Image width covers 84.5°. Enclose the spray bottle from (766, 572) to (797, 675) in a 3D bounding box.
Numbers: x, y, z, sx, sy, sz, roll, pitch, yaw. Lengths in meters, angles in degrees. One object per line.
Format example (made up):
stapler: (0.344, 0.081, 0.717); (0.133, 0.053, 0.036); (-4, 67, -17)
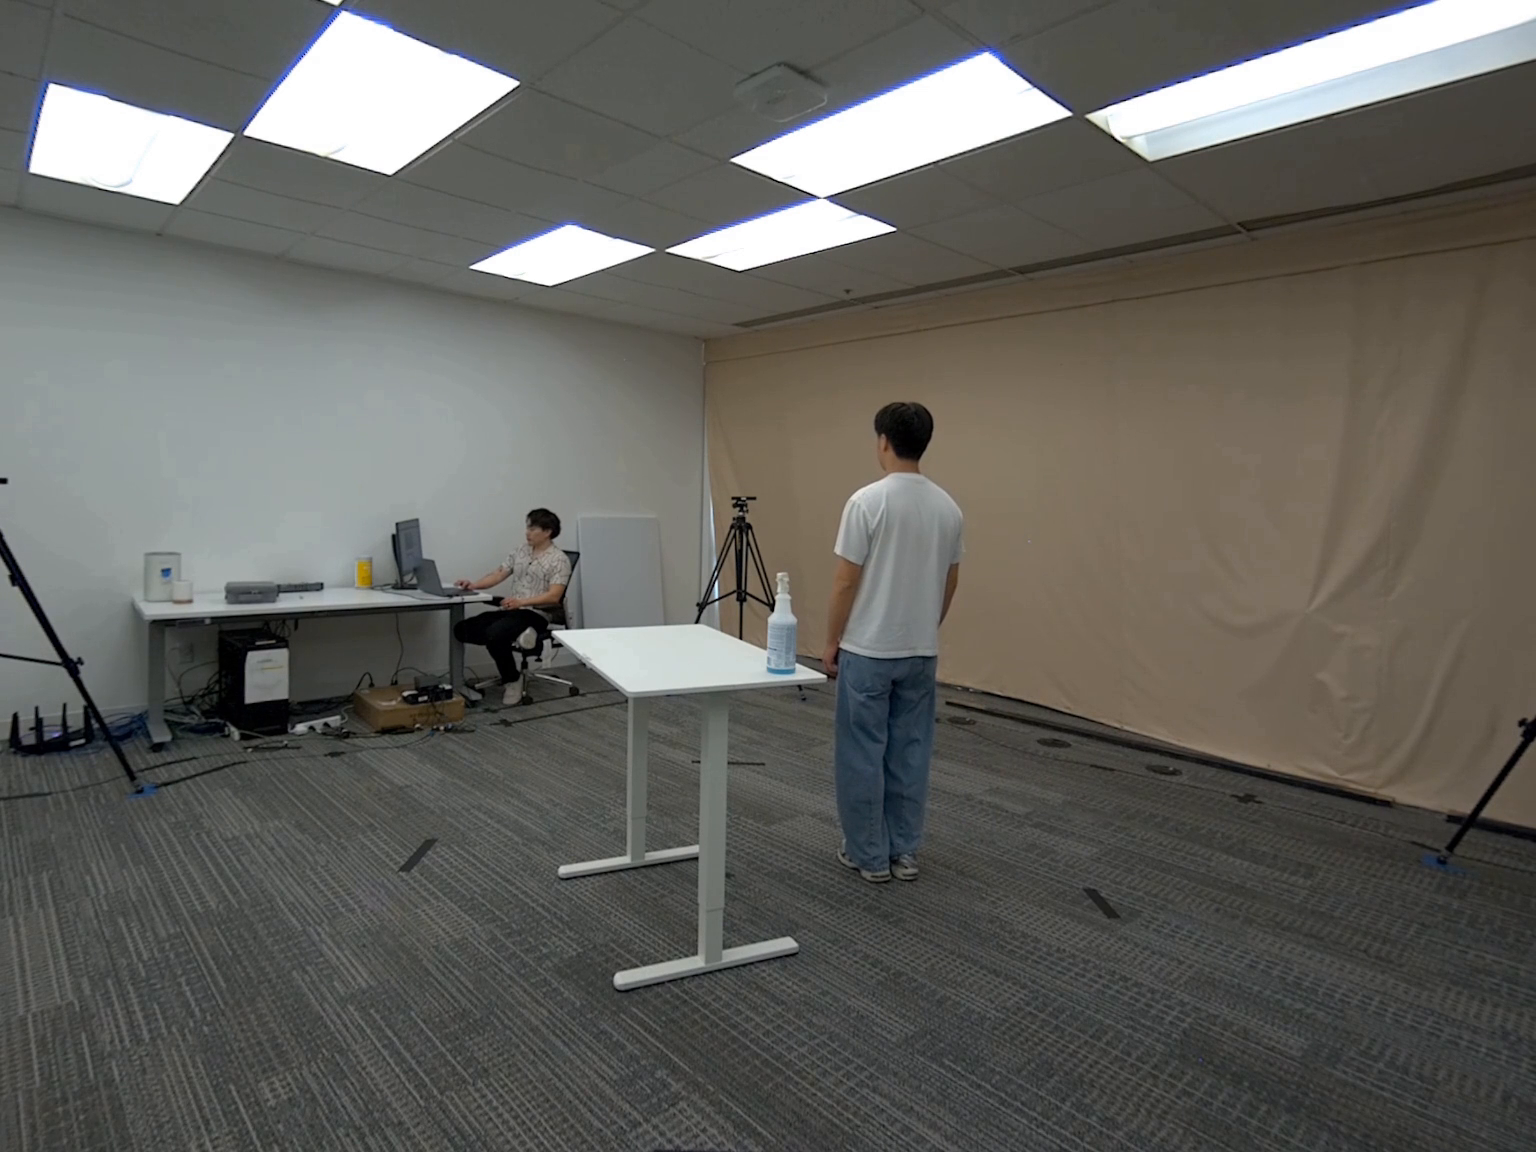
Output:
spray bottle: (0.036, 0.141, 2.485); (0.089, 0.296, 0.088); (5, 6, 42)
